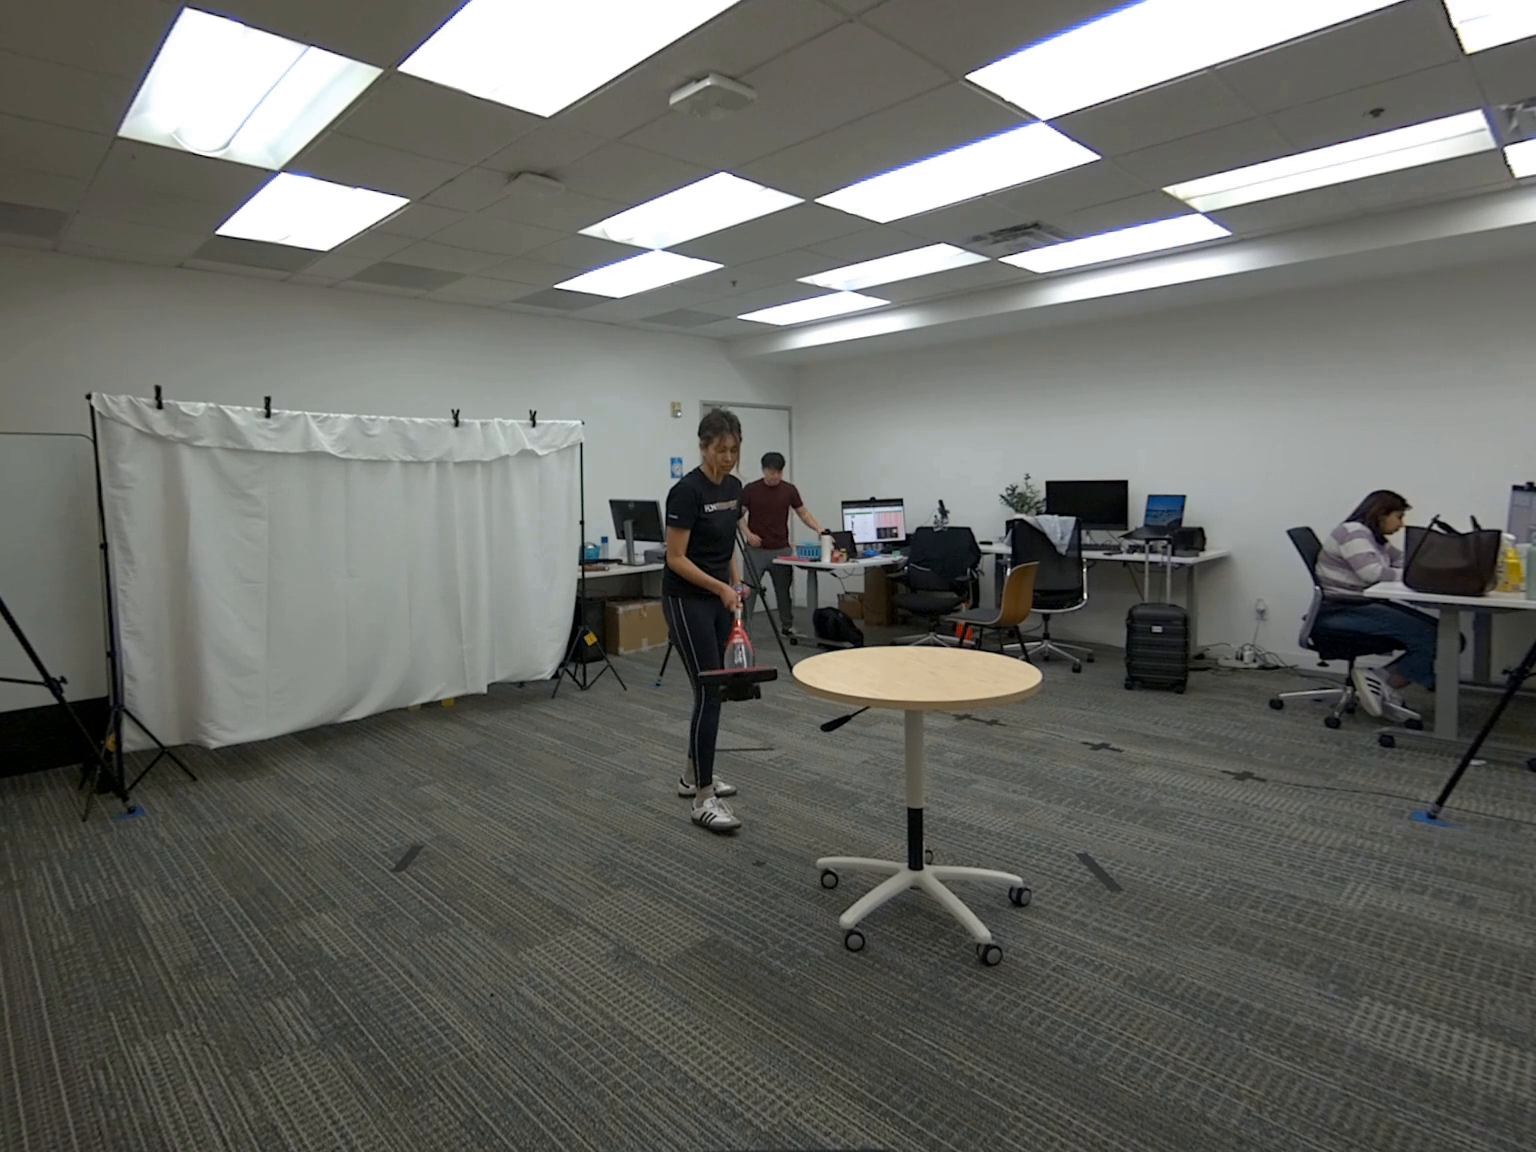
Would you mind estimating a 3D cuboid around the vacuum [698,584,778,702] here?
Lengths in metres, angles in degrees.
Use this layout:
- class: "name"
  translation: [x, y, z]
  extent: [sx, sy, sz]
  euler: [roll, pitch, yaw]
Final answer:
- class: "vacuum"
  translation: [-0.106, 0.218, 3.258]
  extent: [0.253, 0.142, 1.061]
  euler: [-4, 15, 2]
